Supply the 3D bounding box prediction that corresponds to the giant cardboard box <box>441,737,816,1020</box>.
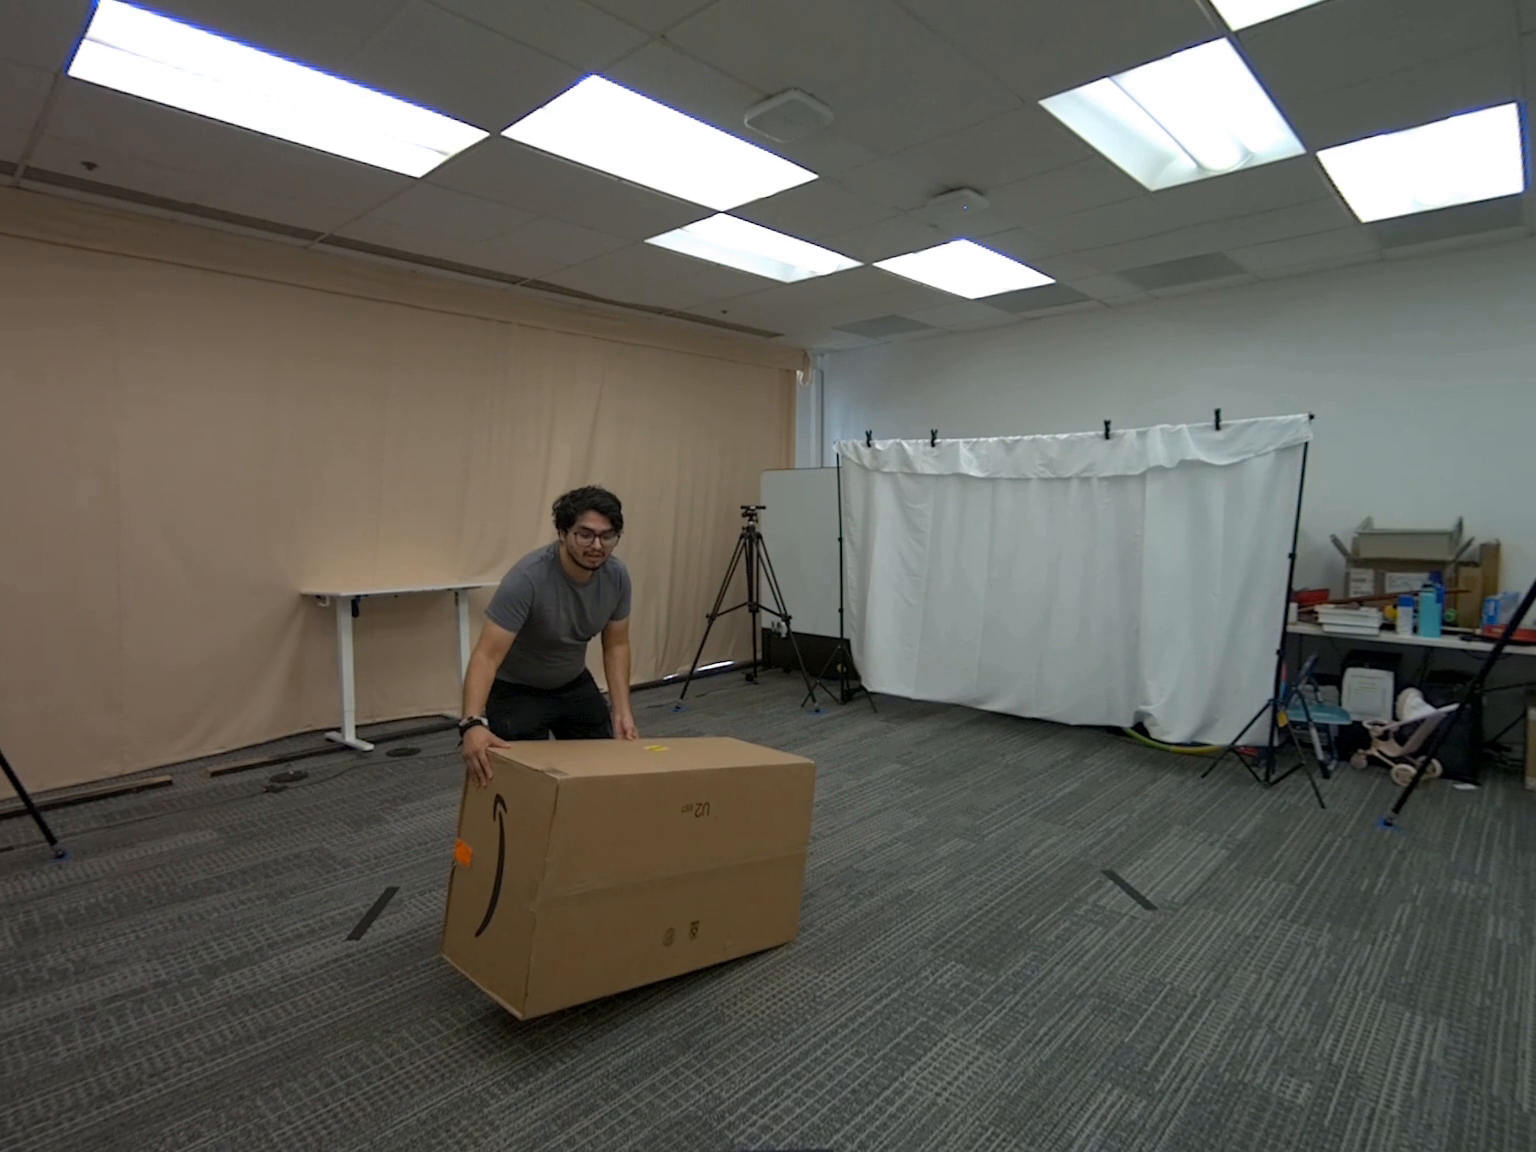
[{"bbox_3d":[-0.356,0.823,2.506,0.440,0.578,0.990,3,-5,43],"label":"giant cardboard box"}]
